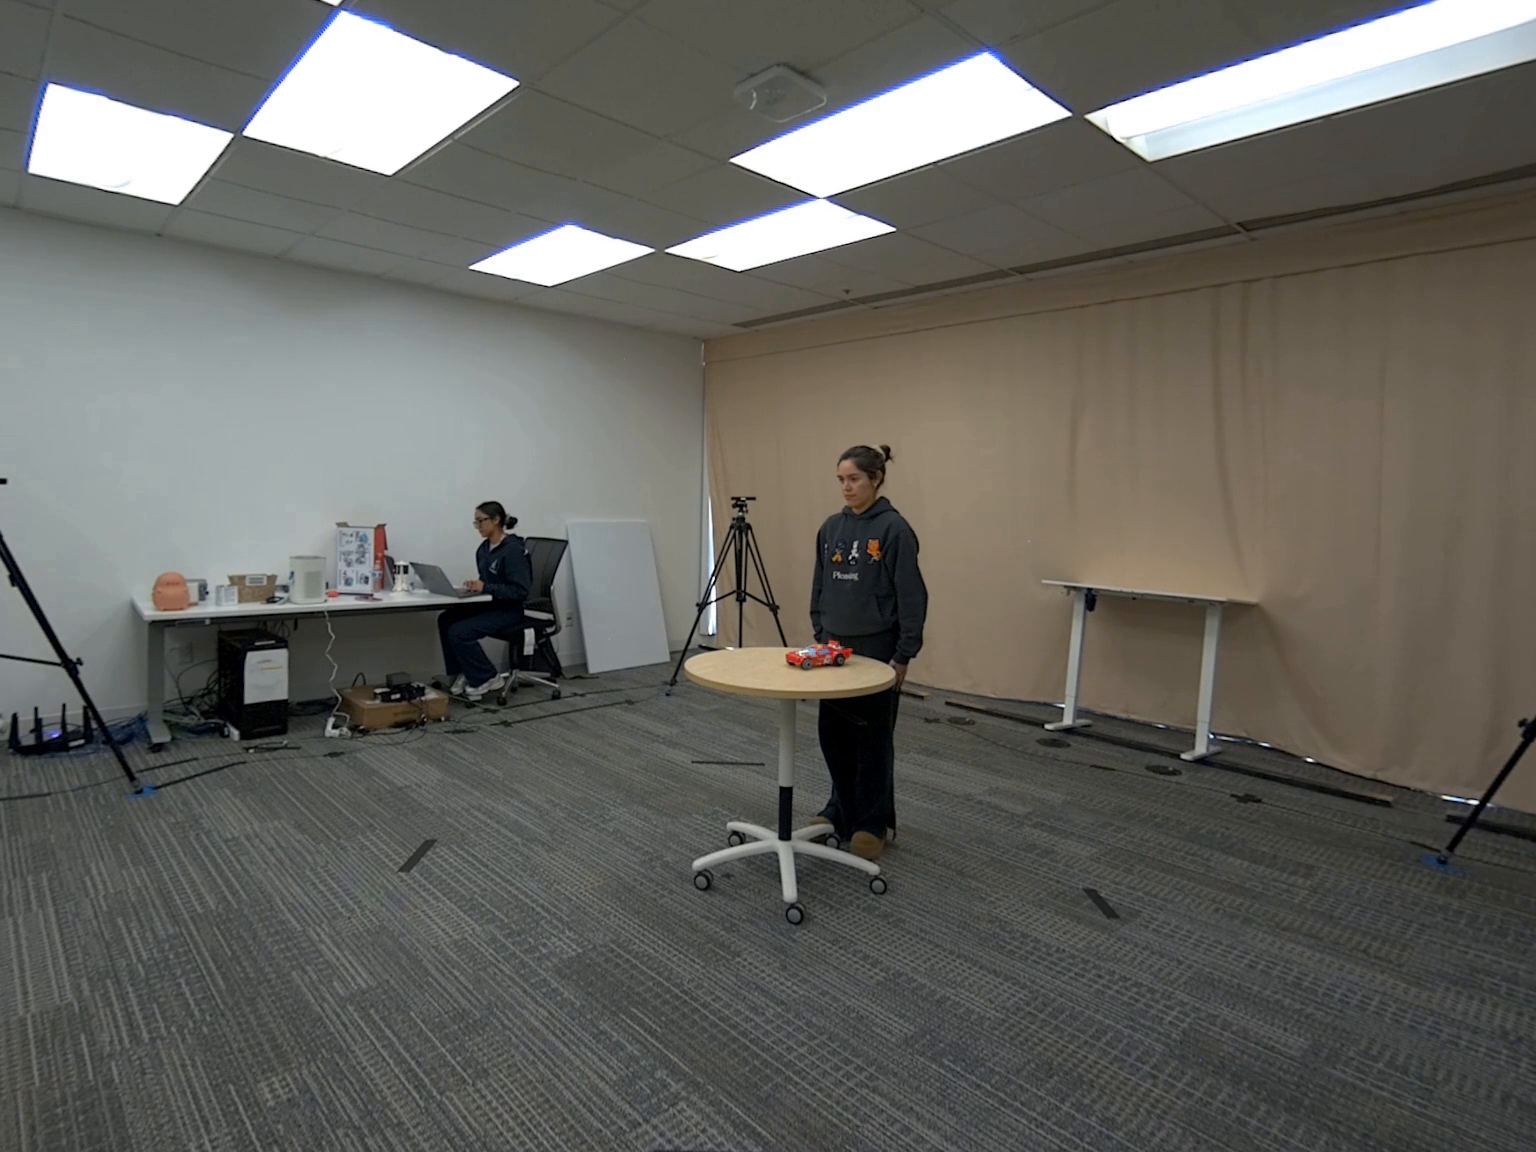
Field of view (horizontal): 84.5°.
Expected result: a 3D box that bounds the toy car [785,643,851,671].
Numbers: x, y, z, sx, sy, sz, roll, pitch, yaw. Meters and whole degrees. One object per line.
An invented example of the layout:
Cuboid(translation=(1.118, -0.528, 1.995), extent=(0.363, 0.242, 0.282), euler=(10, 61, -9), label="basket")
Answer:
Cuboid(translation=(0.188, 0.298, 3.113), extent=(0.251, 0.082, 0.133), euler=(-14, 12, -28), label="toy car")
